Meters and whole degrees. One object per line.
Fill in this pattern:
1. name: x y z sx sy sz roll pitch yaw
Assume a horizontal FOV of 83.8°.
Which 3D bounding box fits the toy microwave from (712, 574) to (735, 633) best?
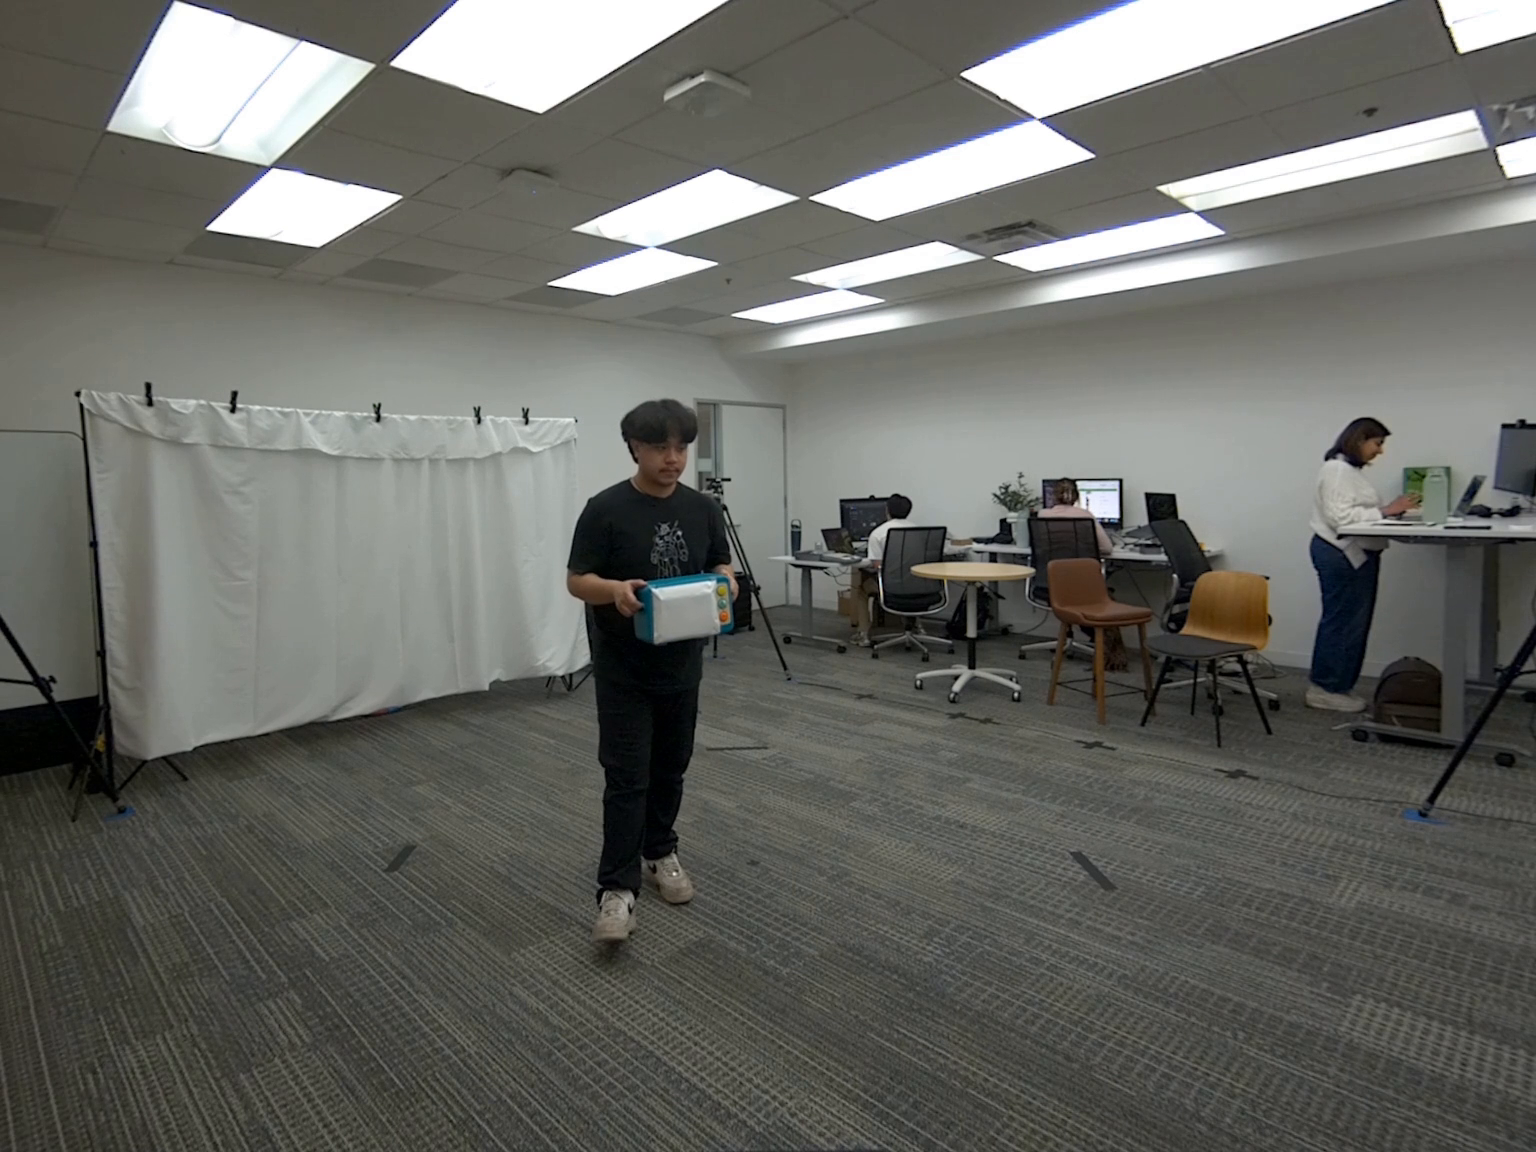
1. toy microwave: -0.232 0.102 2.574 0.280 0.183 0.156 -9 5 -28
